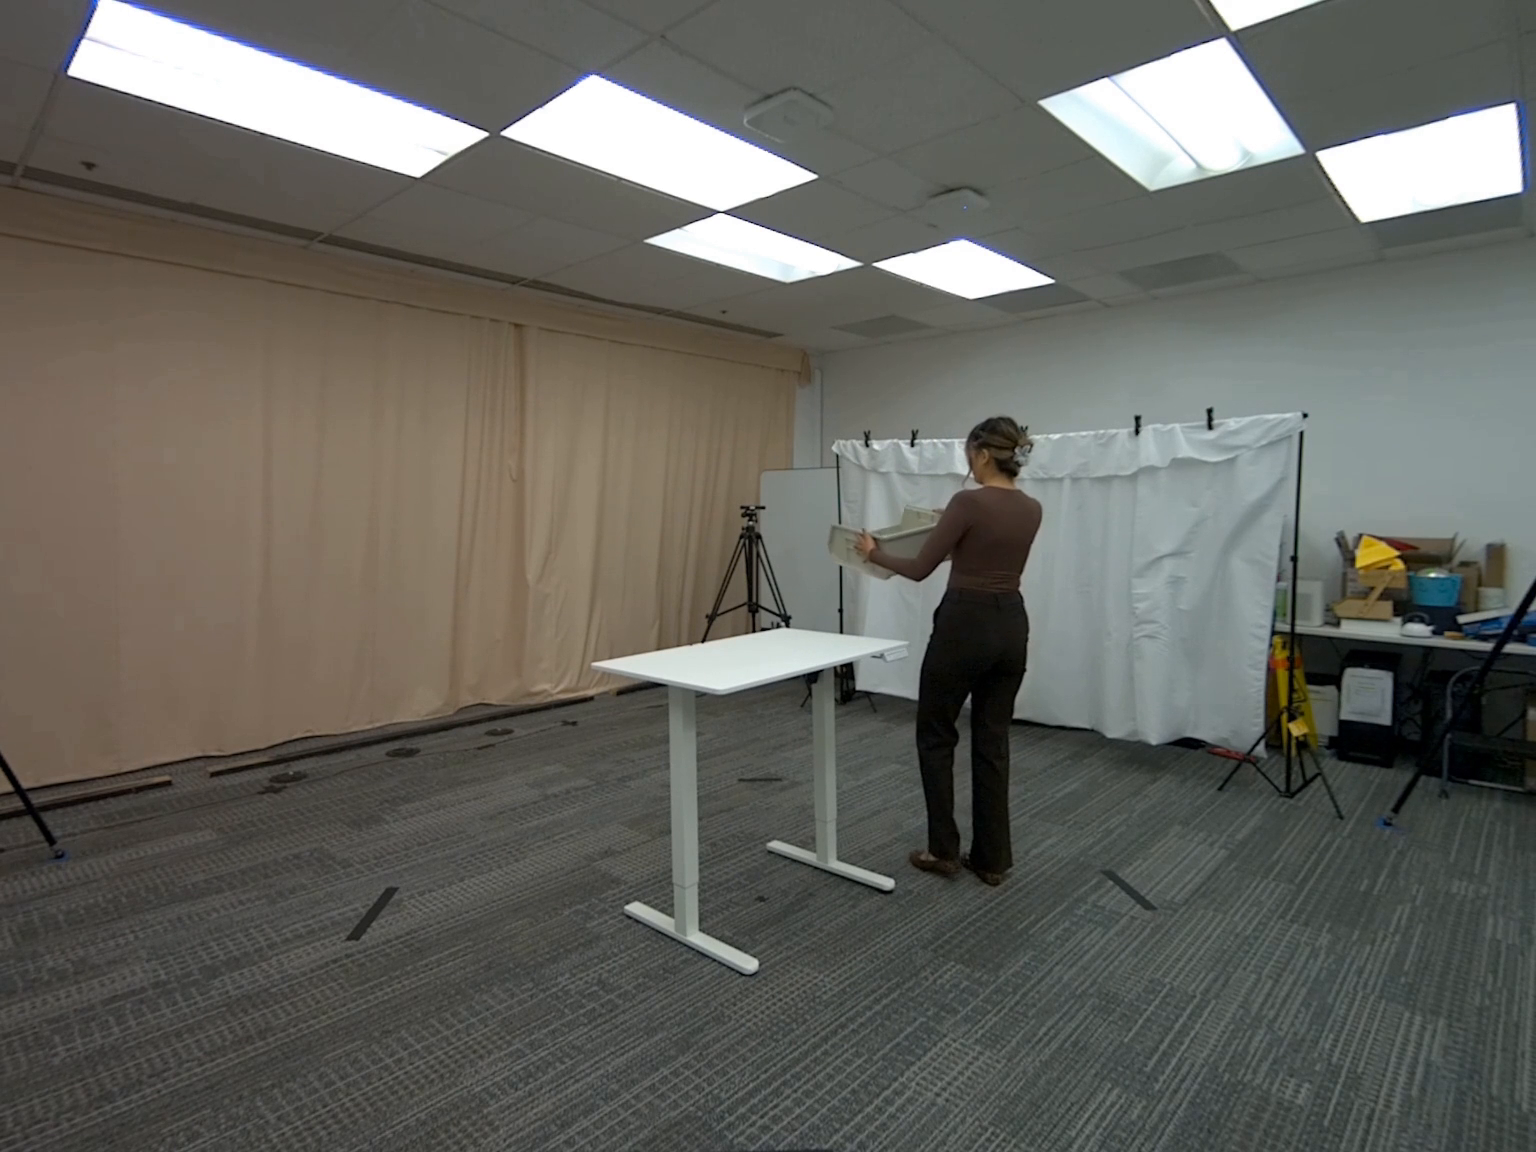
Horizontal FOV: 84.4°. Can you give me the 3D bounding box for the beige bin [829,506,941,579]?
[{"bbox_3d":[0.532,-0.144,3.529,0.413,0.187,0.390,-15,21,-28],"label":"beige bin"}]
